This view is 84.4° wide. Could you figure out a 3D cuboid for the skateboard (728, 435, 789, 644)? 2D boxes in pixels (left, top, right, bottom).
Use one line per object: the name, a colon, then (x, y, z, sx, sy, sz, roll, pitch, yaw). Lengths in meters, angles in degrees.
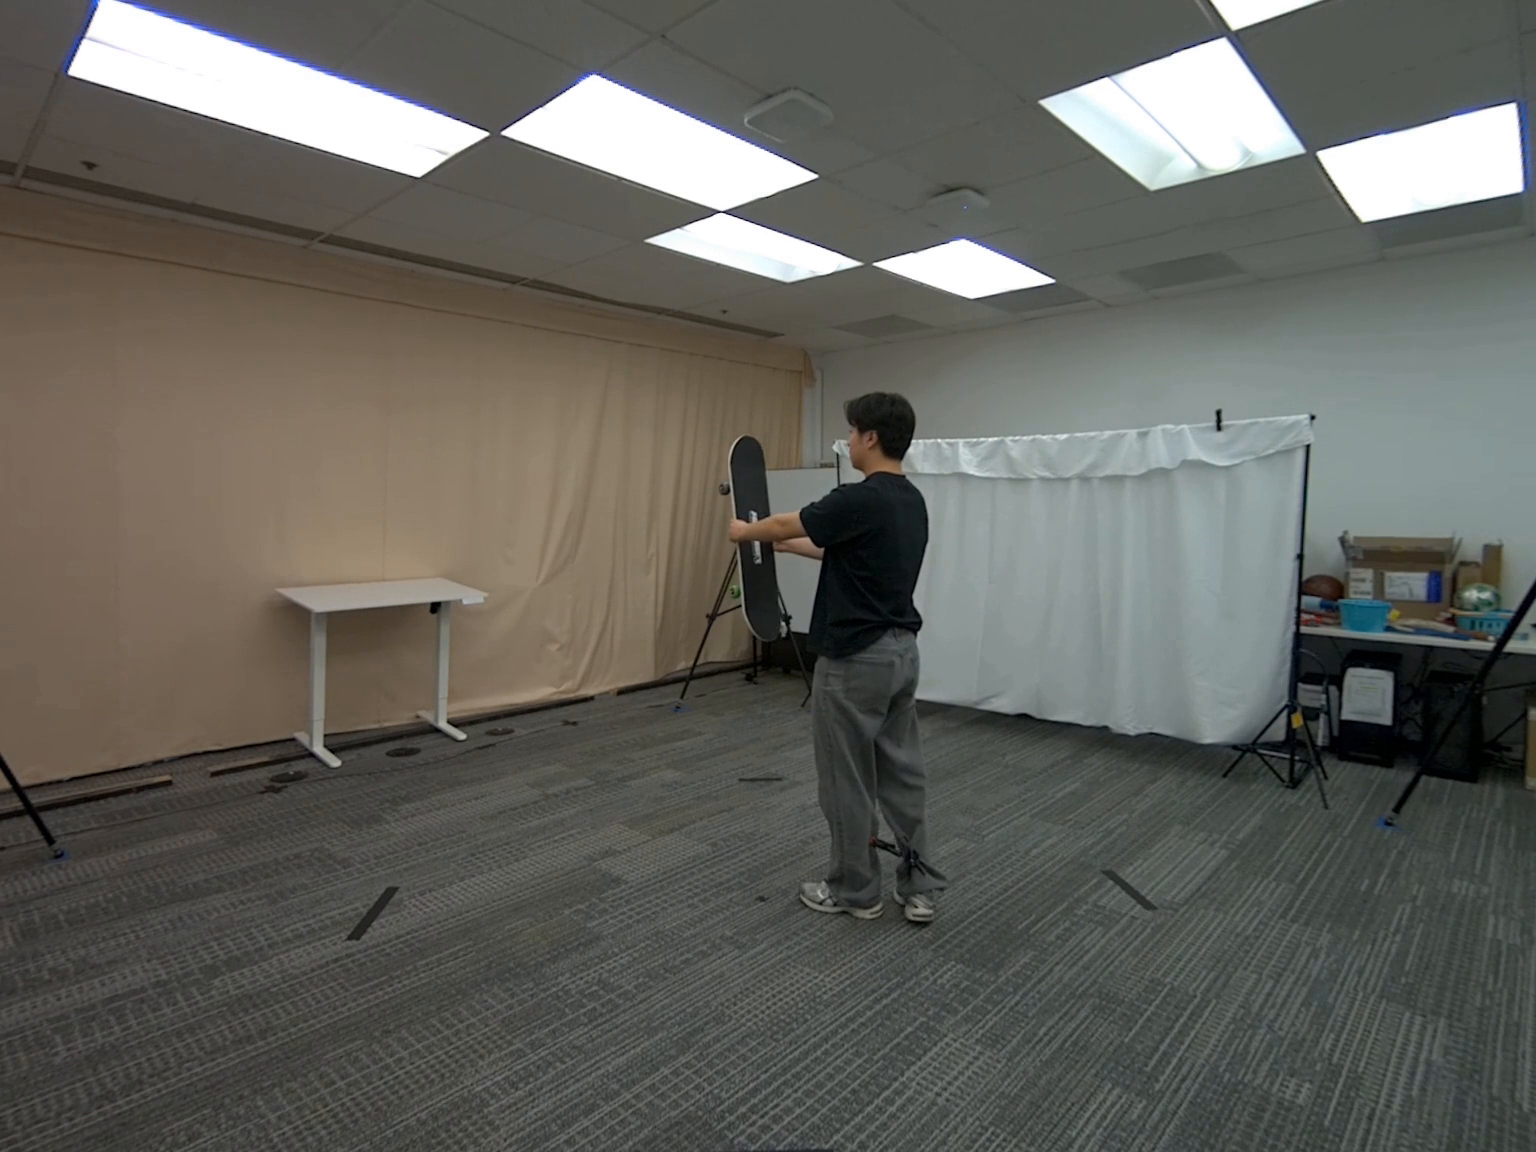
skateboard: (-0.067, -0.141, 3.247, 0.187, 0.789, 0.113, 0, -8, -44)
